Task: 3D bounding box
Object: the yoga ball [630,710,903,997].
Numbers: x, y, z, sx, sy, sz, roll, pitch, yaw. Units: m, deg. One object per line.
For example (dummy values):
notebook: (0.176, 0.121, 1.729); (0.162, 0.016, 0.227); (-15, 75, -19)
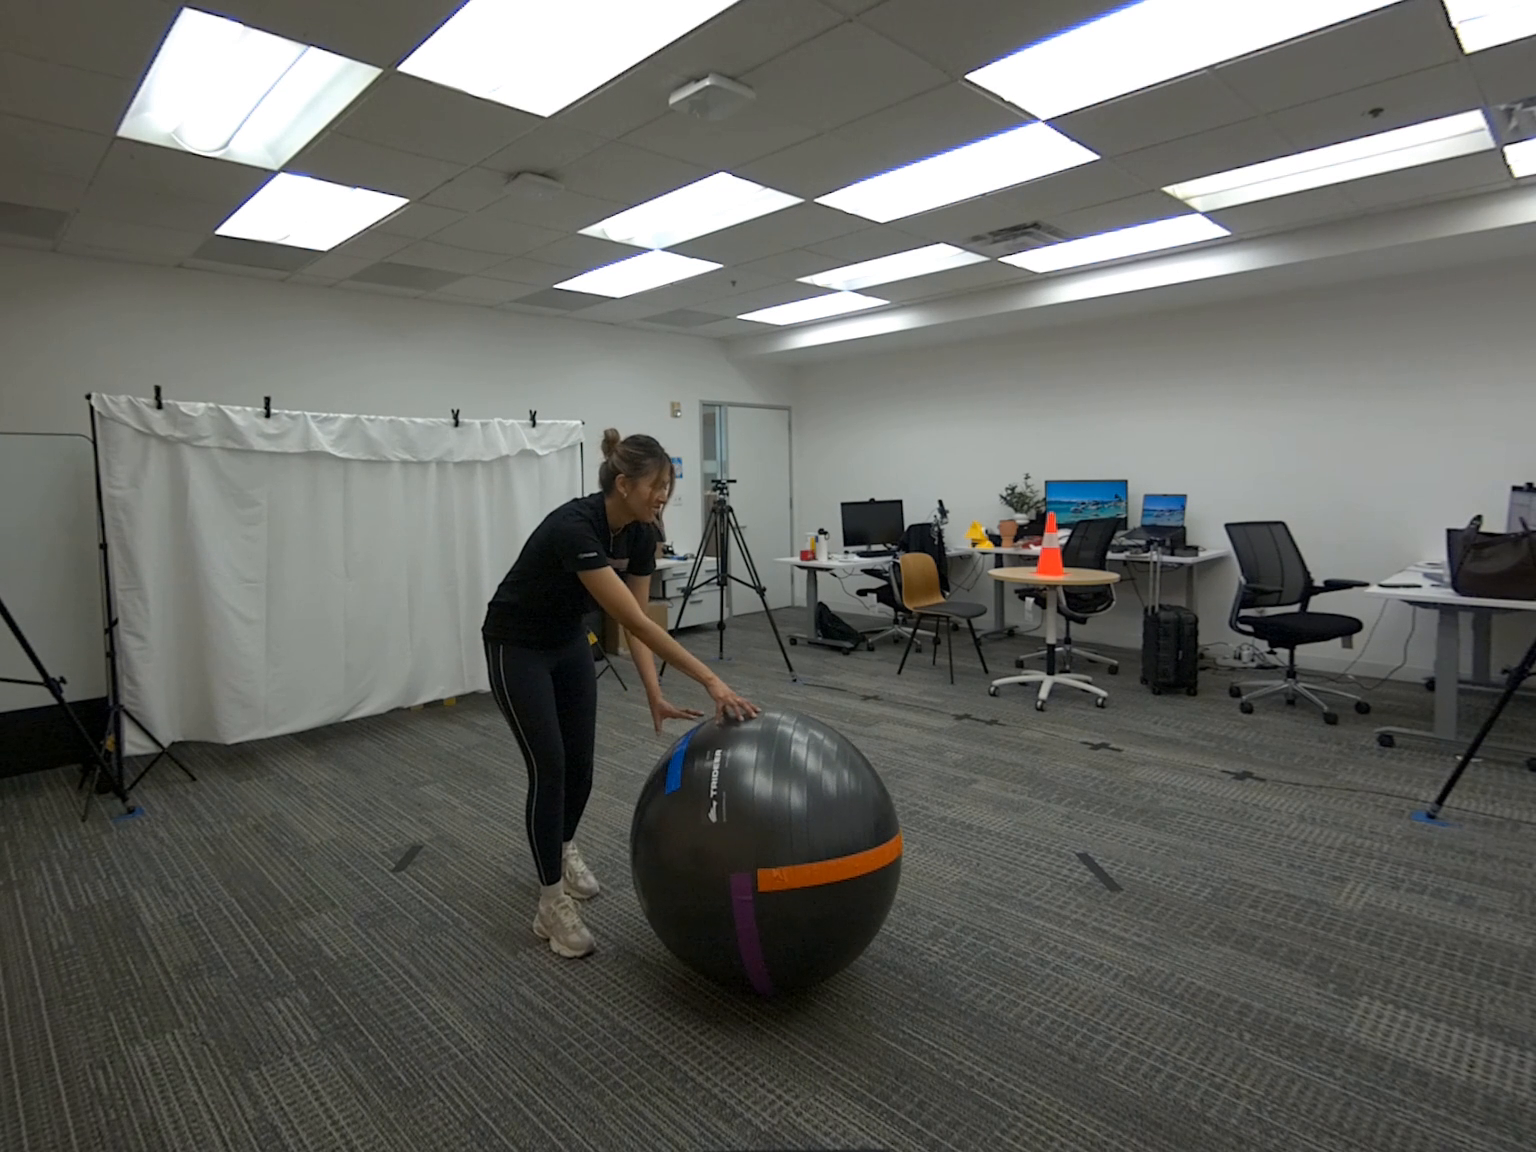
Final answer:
yoga ball: (-0.006, 0.765, 2.414); (0.757, 0.755, 0.762); (-1, 5, -2)
